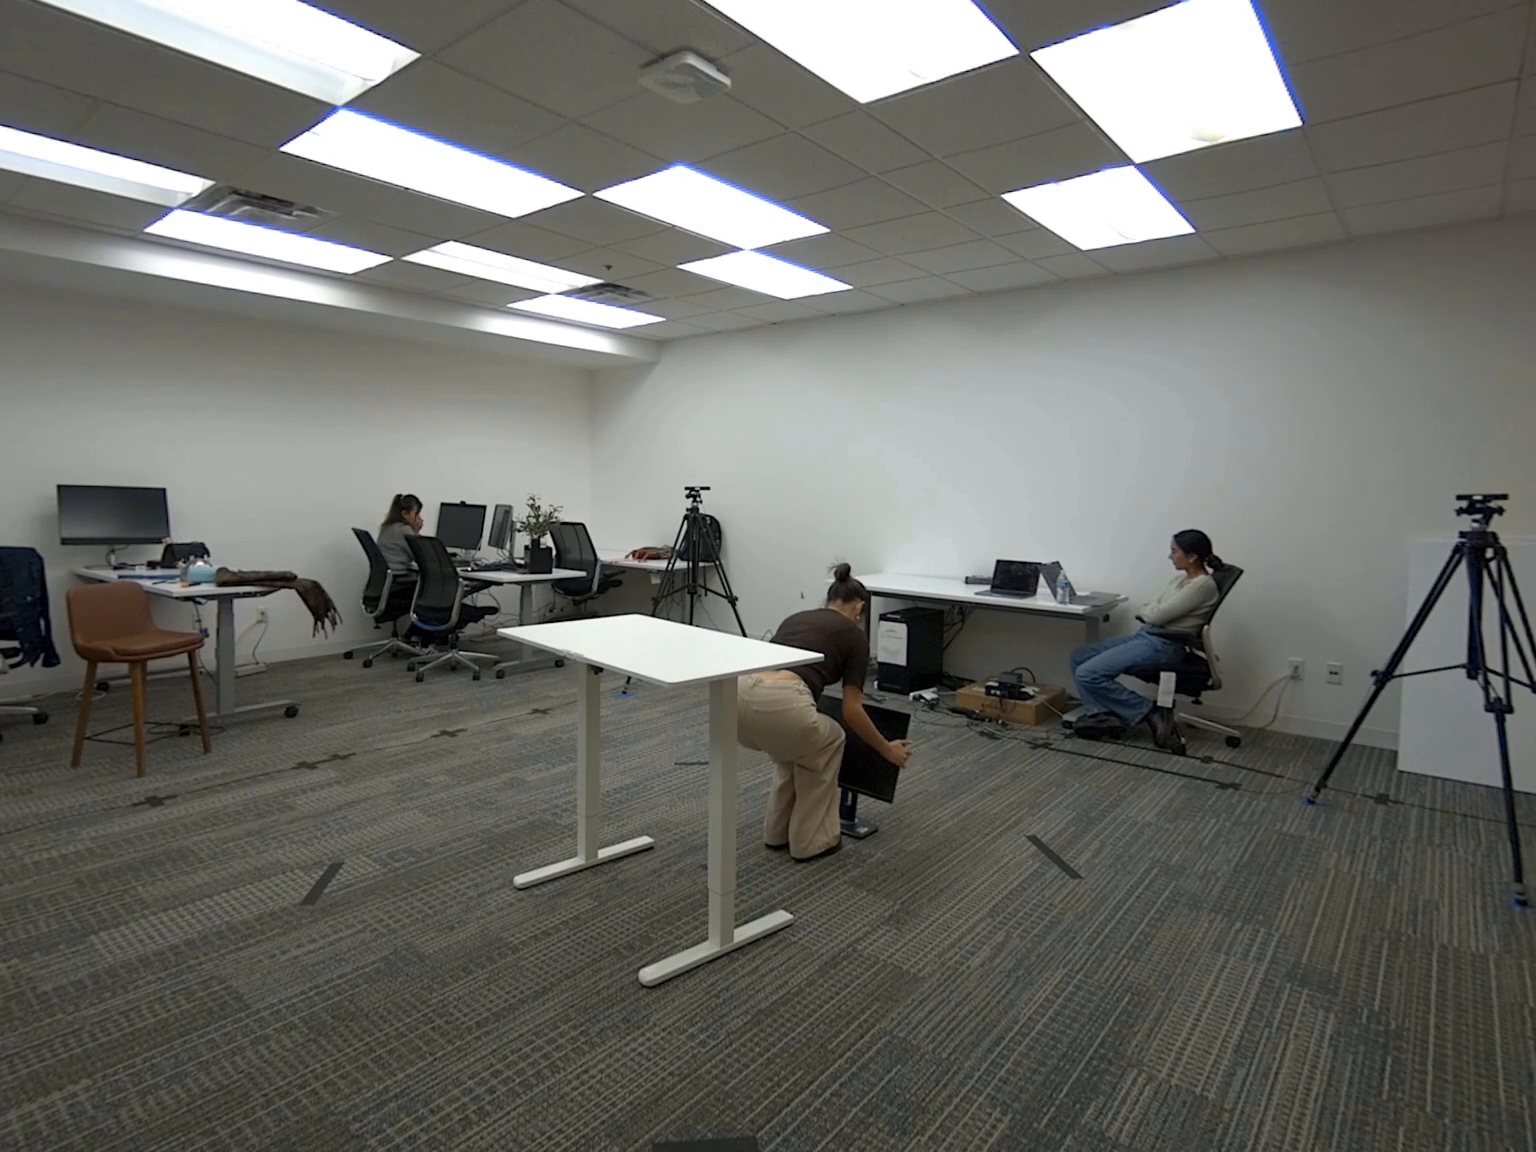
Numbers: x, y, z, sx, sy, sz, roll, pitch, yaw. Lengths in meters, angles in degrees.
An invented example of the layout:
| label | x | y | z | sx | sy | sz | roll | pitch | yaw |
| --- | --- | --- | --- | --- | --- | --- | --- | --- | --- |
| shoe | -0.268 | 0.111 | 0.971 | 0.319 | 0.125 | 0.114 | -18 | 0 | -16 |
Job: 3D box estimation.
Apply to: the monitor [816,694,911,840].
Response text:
| label | x | y | z | sx | sy | sz | roll | pitch | yaw |
| --- | --- | --- | --- | --- | --- | --- | --- | --- | --- |
| monitor | 0.328 | 0.781 | 3.538 | 0.557 | 0.522 | 0.181 | 5 | 1 | 40 |
